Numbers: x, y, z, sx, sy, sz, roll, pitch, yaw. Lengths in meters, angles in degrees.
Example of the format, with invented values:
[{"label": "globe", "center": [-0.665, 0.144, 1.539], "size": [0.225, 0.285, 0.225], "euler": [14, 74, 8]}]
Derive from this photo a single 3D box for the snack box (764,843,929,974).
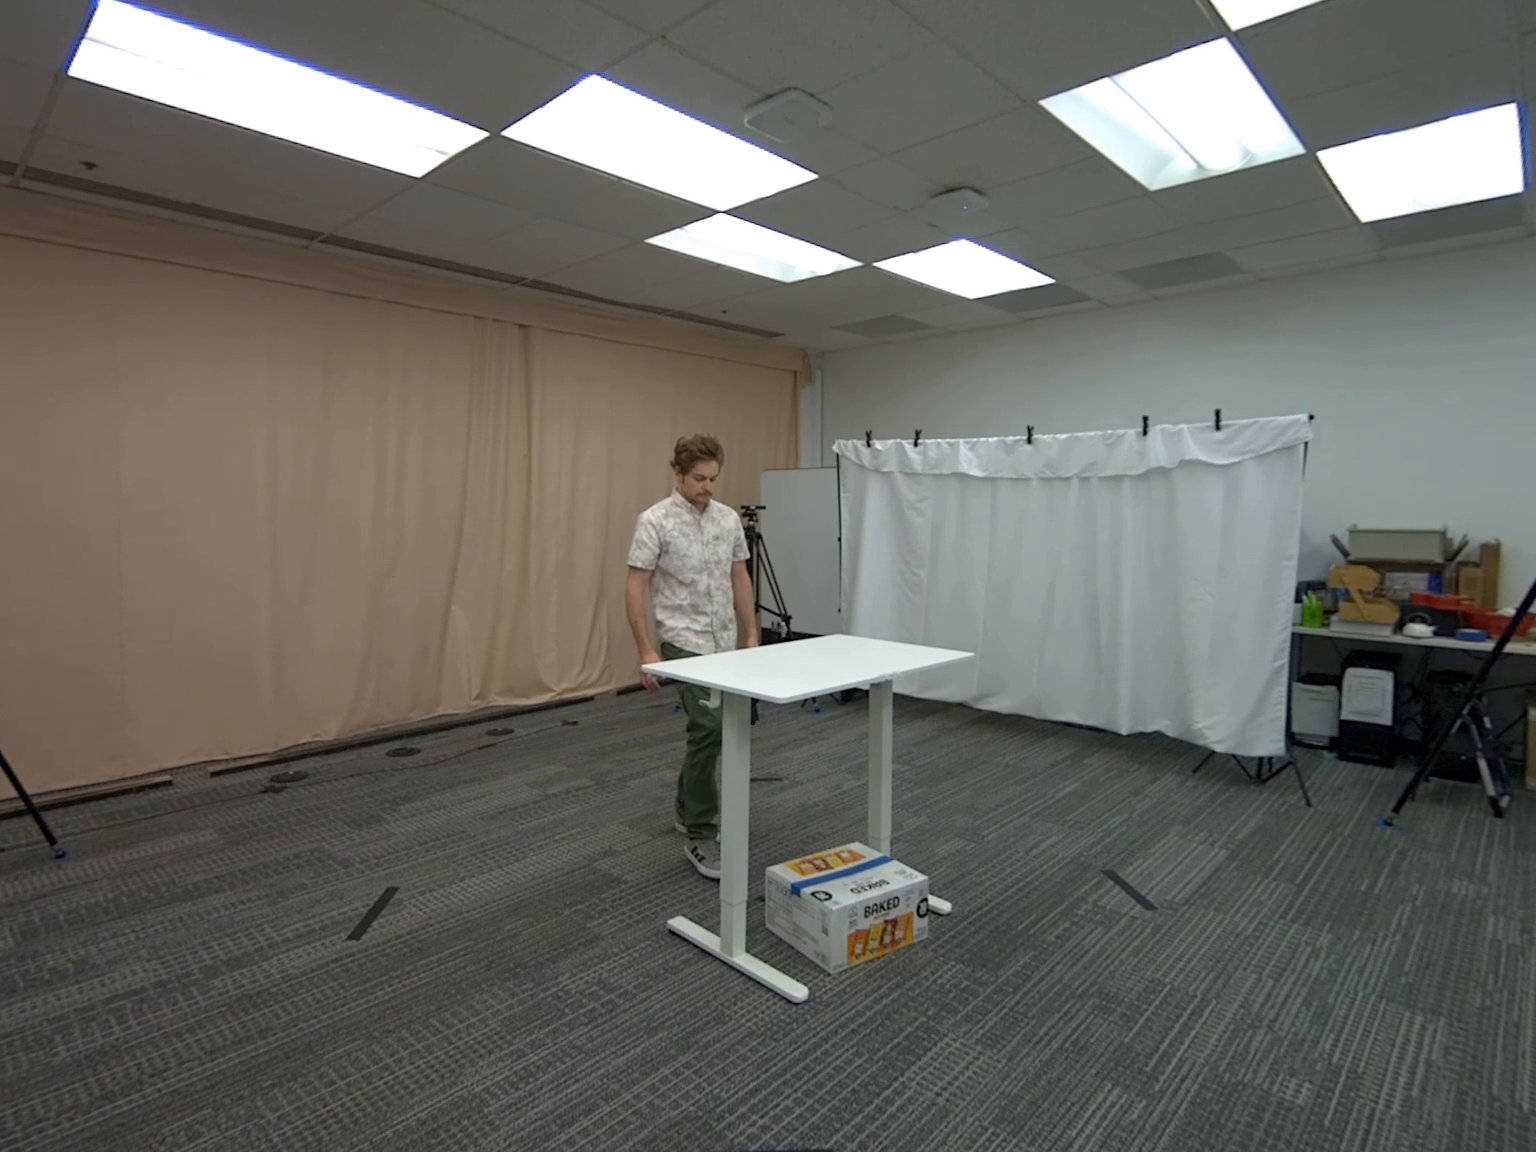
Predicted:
[{"label": "snack box", "center": [0.258, 1.065, 2.729], "size": [0.394, 0.205, 0.351], "euler": [-3, 5, -34]}]
